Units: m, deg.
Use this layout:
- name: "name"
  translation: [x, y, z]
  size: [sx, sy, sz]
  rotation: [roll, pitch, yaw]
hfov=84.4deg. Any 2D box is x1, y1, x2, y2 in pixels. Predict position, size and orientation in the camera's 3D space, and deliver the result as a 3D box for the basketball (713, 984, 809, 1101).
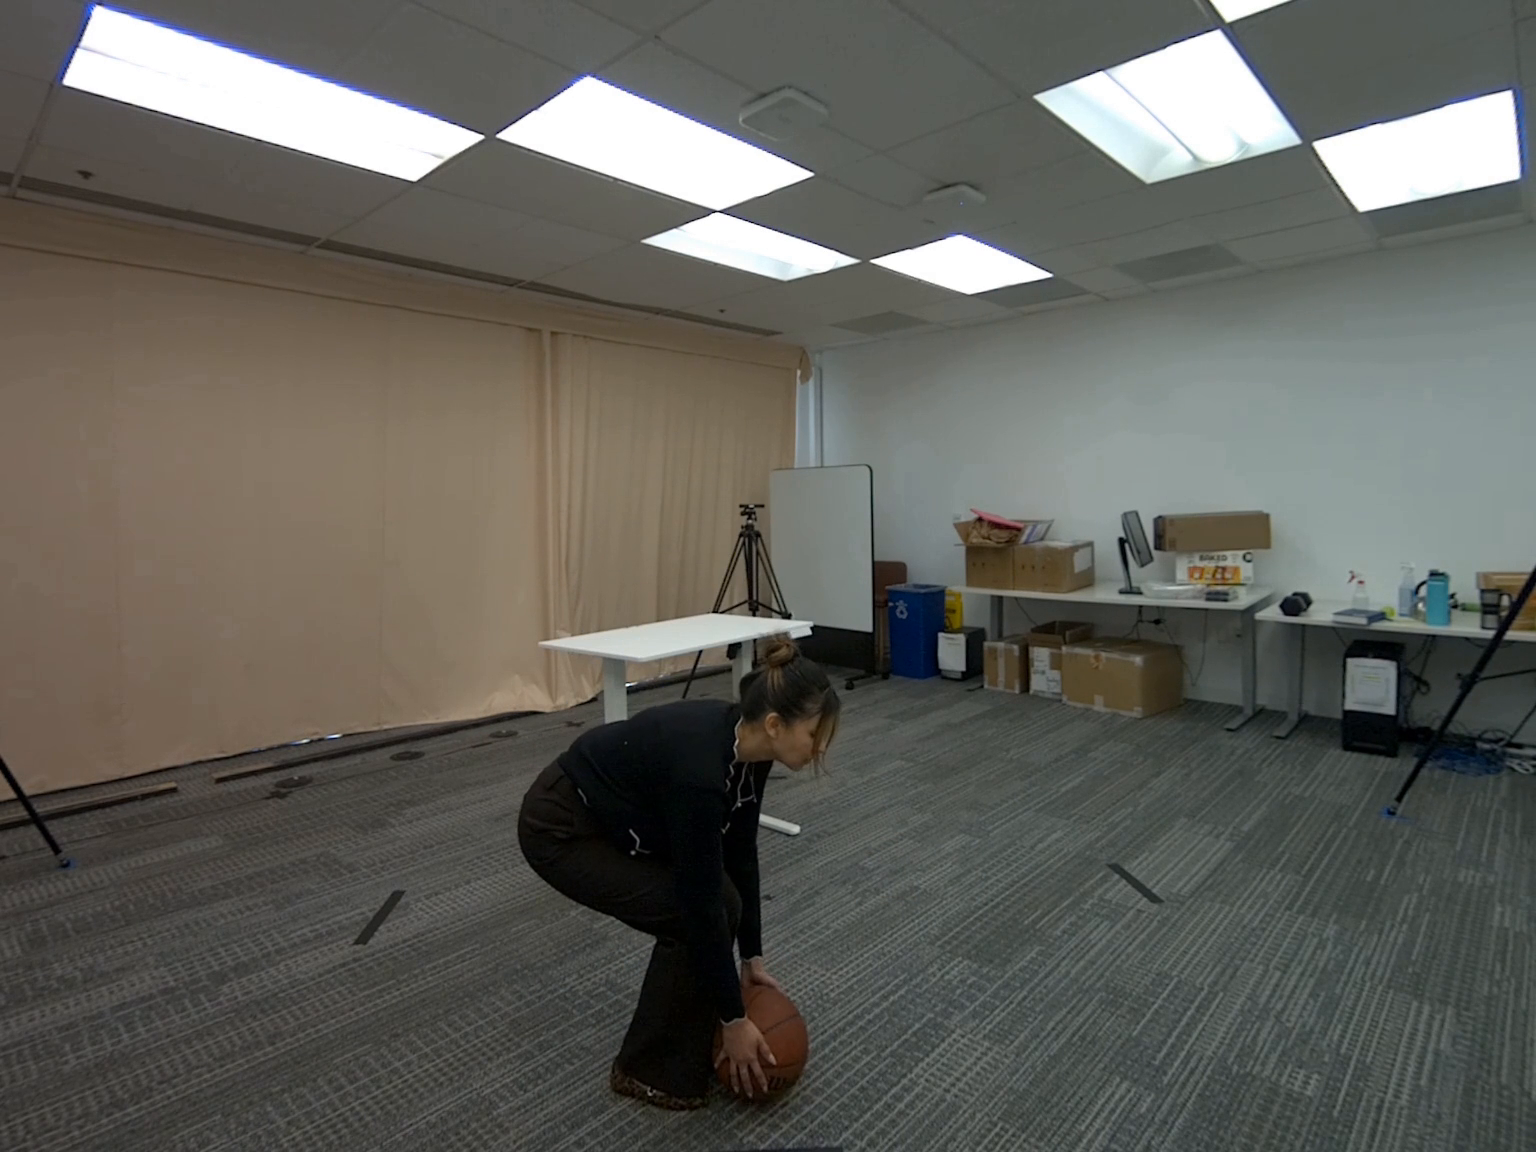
- name: "basketball"
  translation: [-0.017, 1.098, 1.964]
  size: [0.236, 0.235, 0.237]
  rotation: [-1, 4, -2]
